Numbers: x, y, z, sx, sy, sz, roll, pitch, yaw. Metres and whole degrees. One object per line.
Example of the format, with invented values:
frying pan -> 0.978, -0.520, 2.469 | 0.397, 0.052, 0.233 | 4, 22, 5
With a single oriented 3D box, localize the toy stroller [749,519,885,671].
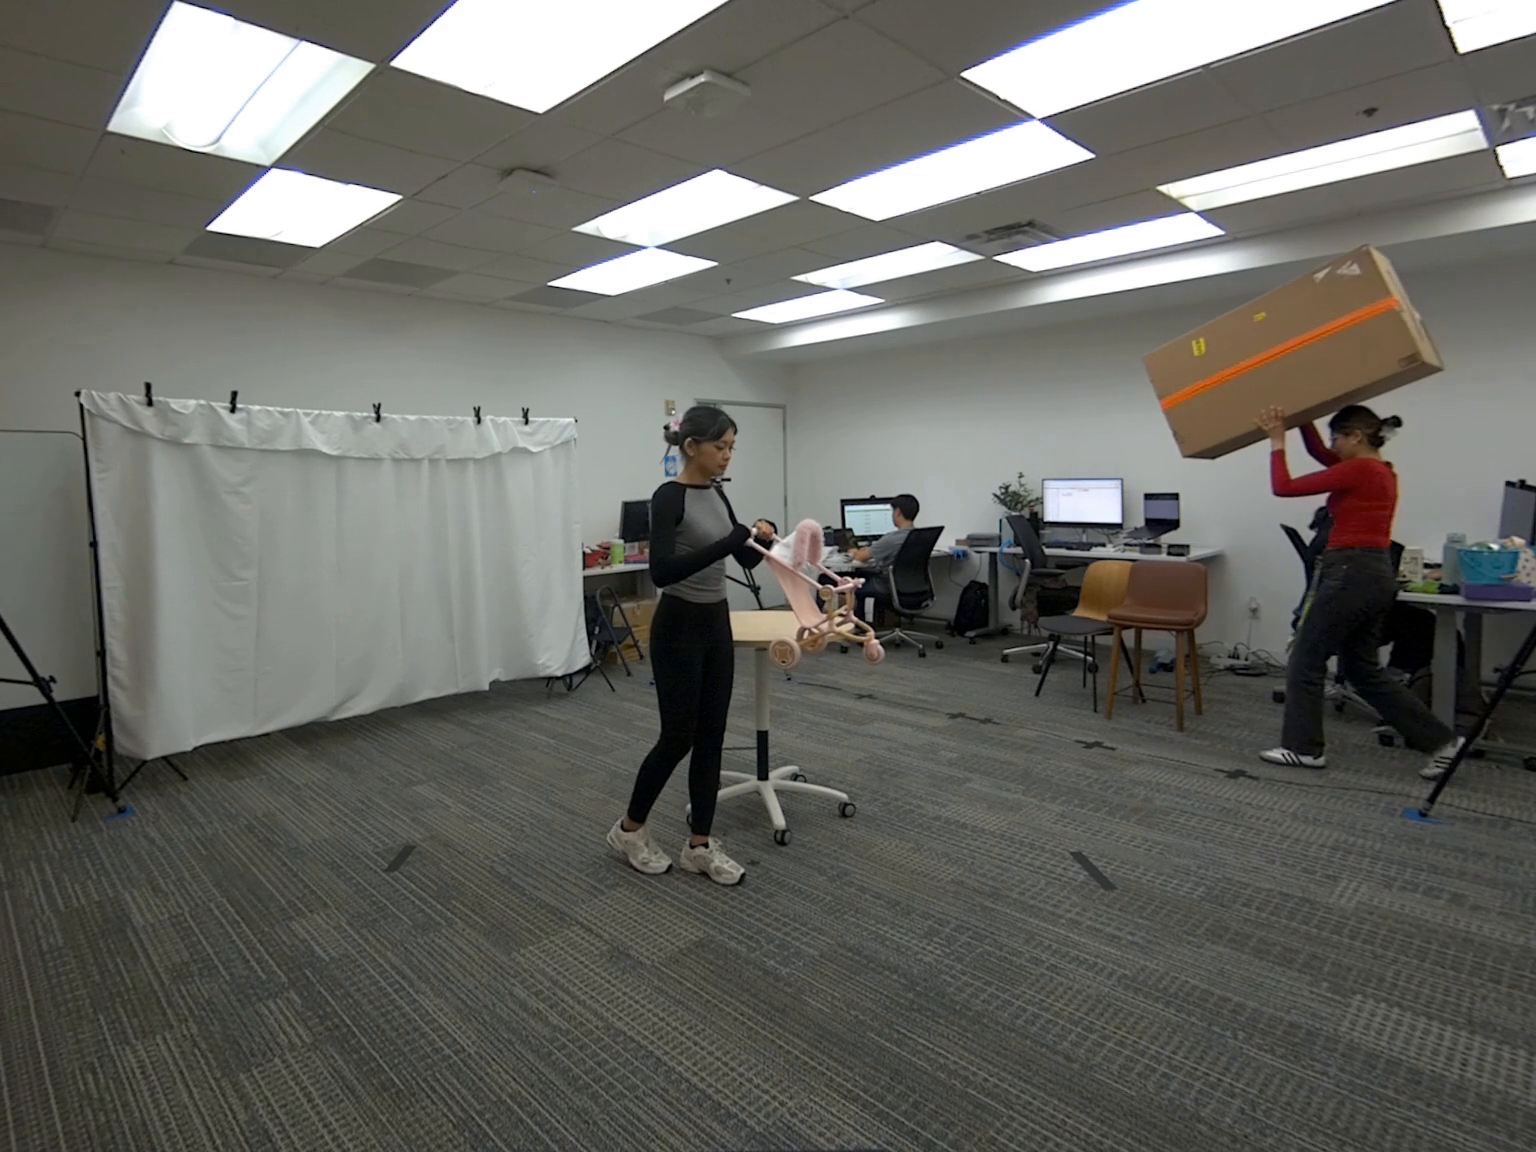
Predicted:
toy stroller -> 0.152, 0.056, 2.755 | 0.347, 0.536, 0.275 | -16, -2, 31
